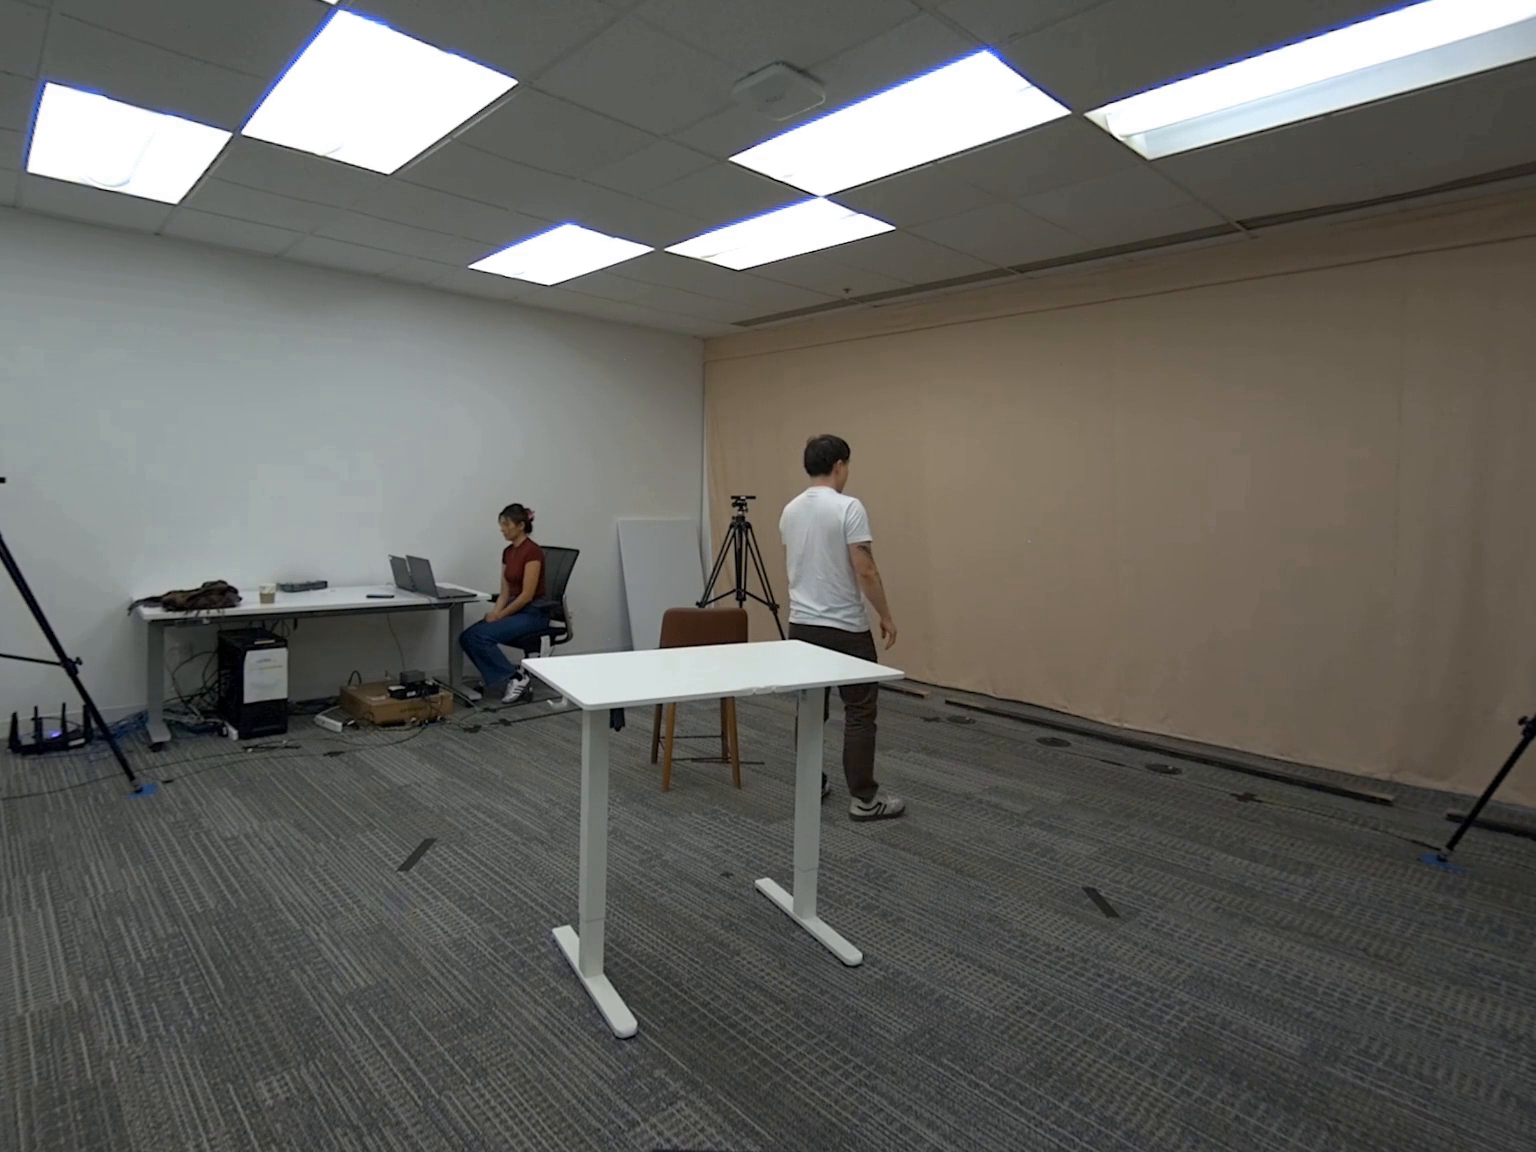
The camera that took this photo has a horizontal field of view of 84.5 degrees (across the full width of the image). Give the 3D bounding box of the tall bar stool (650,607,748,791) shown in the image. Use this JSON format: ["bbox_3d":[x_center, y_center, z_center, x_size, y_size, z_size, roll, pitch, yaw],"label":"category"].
[{"bbox_3d":[-0.359,0.569,4.201,0.452,0.886,0.473,1,5,-12],"label":"tall bar stool"}]
